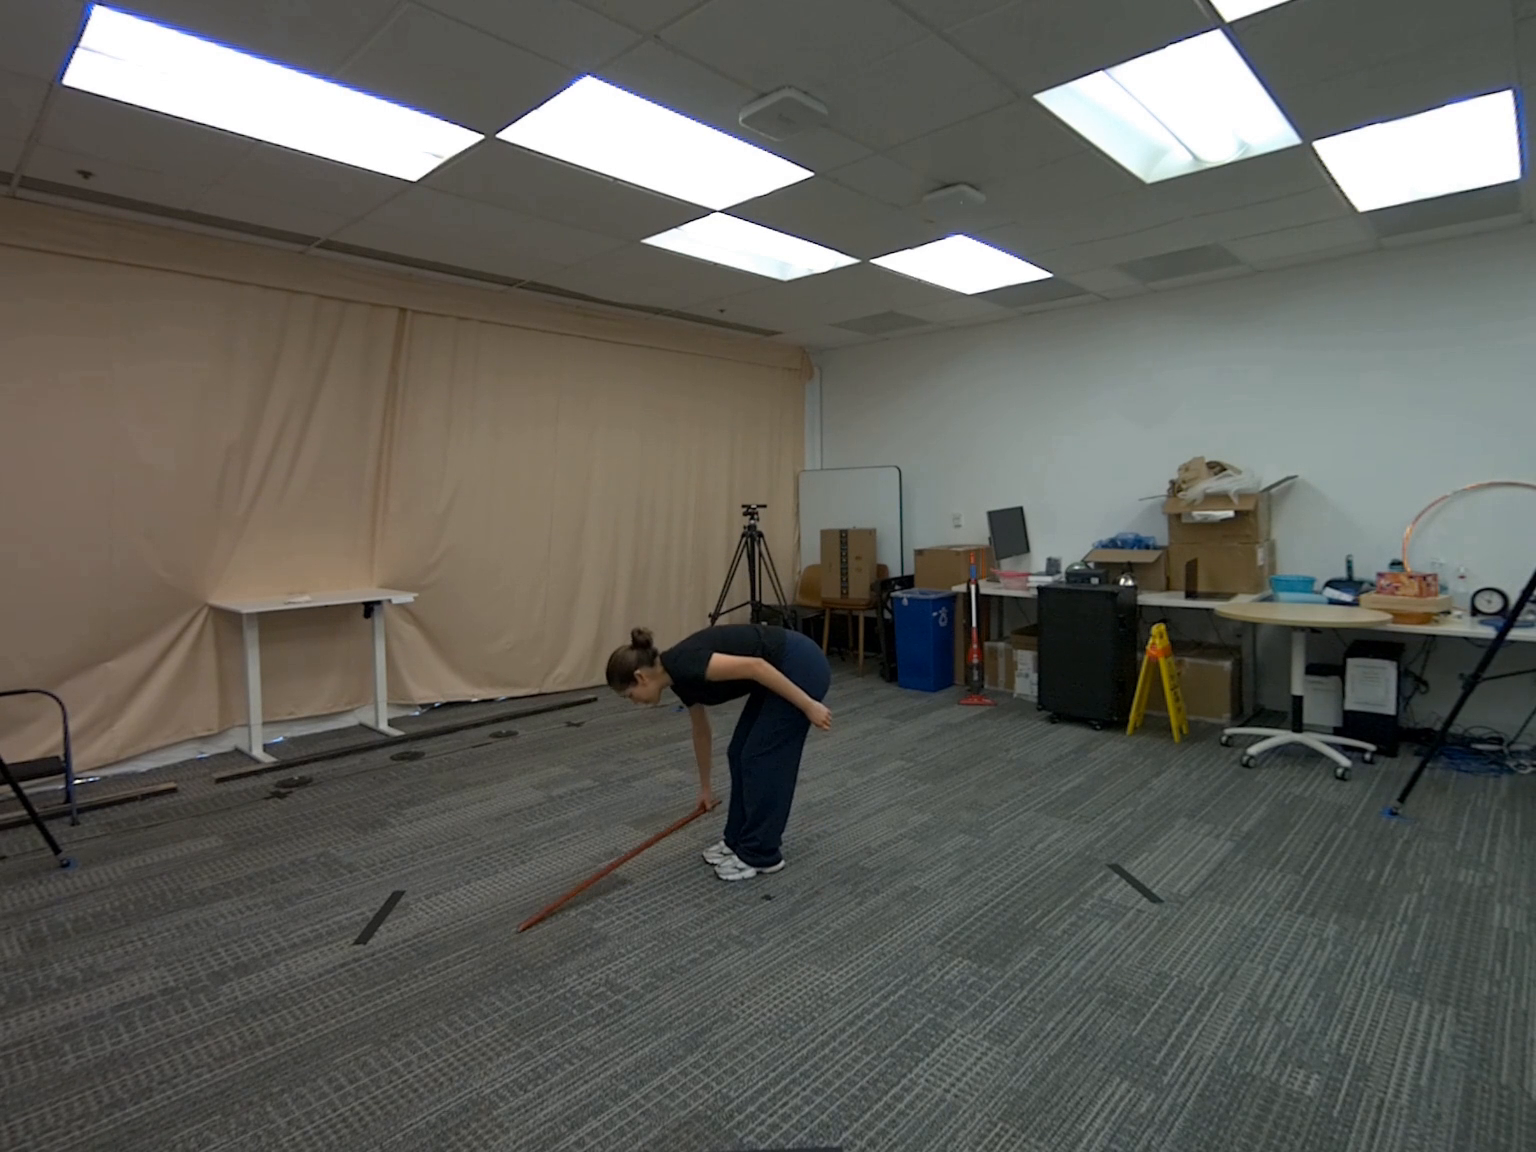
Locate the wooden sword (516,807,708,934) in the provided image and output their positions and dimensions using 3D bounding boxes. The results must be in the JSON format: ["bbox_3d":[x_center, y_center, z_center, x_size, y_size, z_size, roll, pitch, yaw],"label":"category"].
[{"bbox_3d":[-0.504,1.054,3.159,0.053,0.024,0.999,-1,11,40],"label":"wooden sword"}]
